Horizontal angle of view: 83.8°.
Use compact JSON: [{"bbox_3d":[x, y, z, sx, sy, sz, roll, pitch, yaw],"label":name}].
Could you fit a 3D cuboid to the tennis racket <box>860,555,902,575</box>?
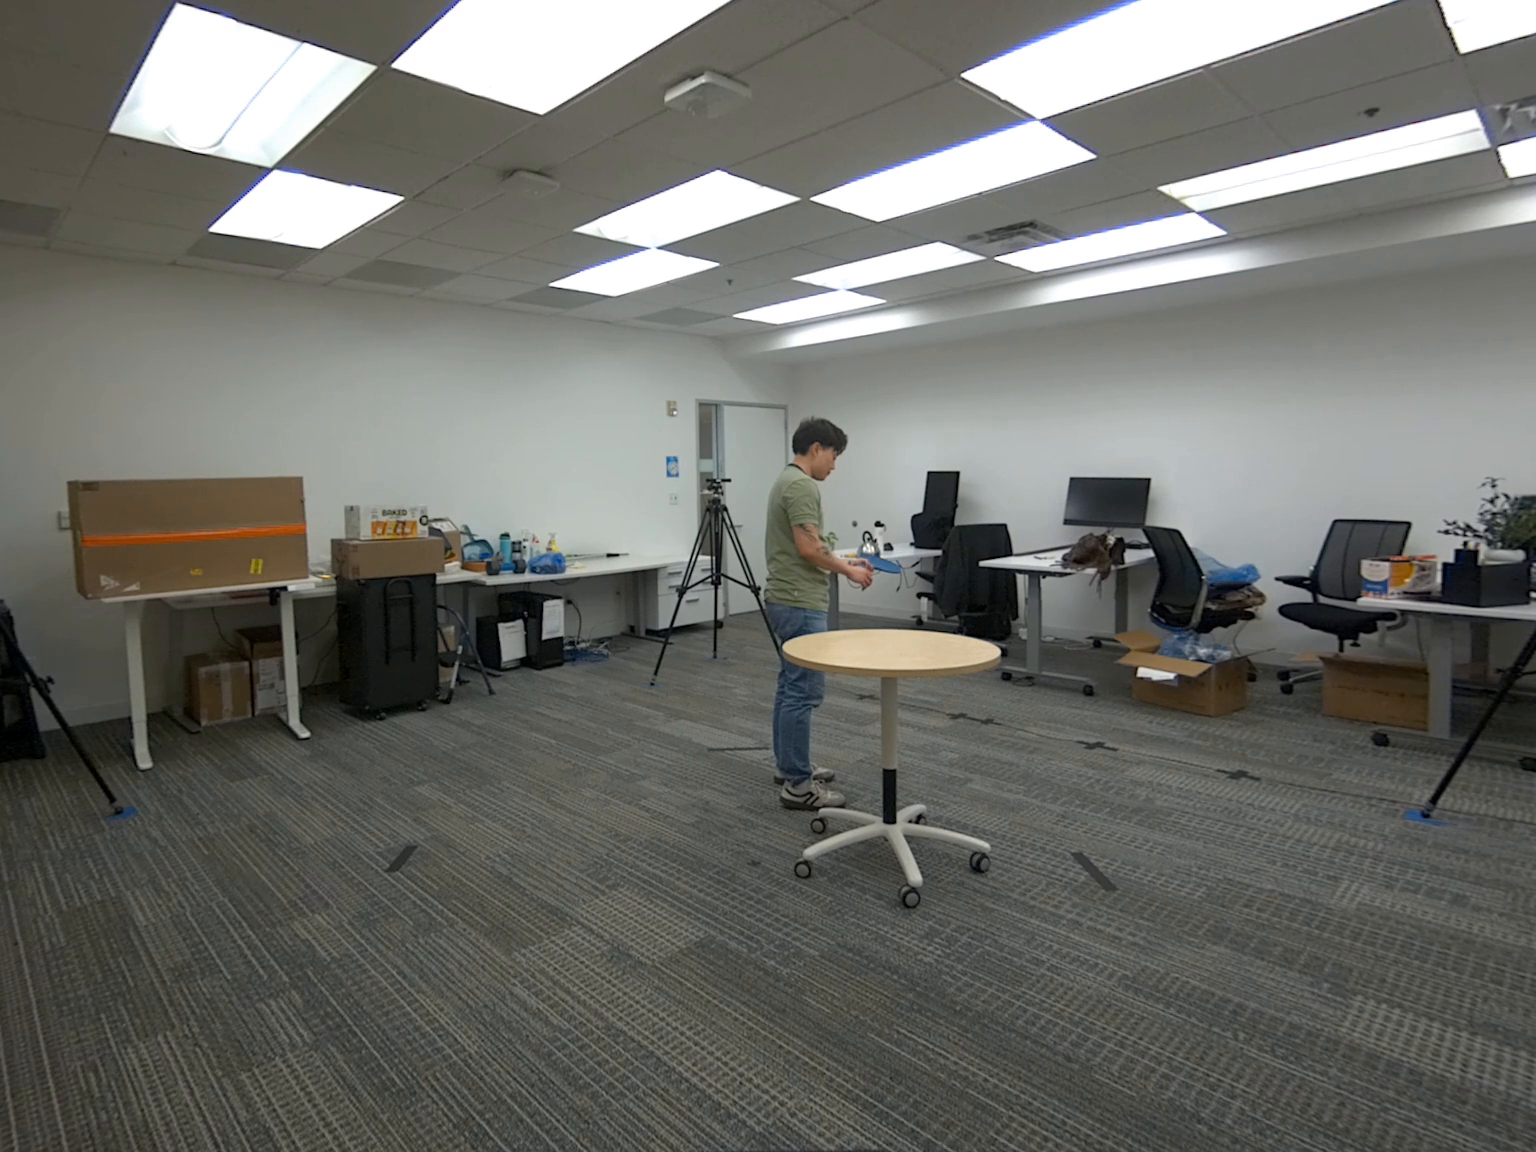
[{"bbox_3d":[0.510,-0.049,4.078,0.218,0.031,0.427,21,15,16],"label":"tennis racket"}]
